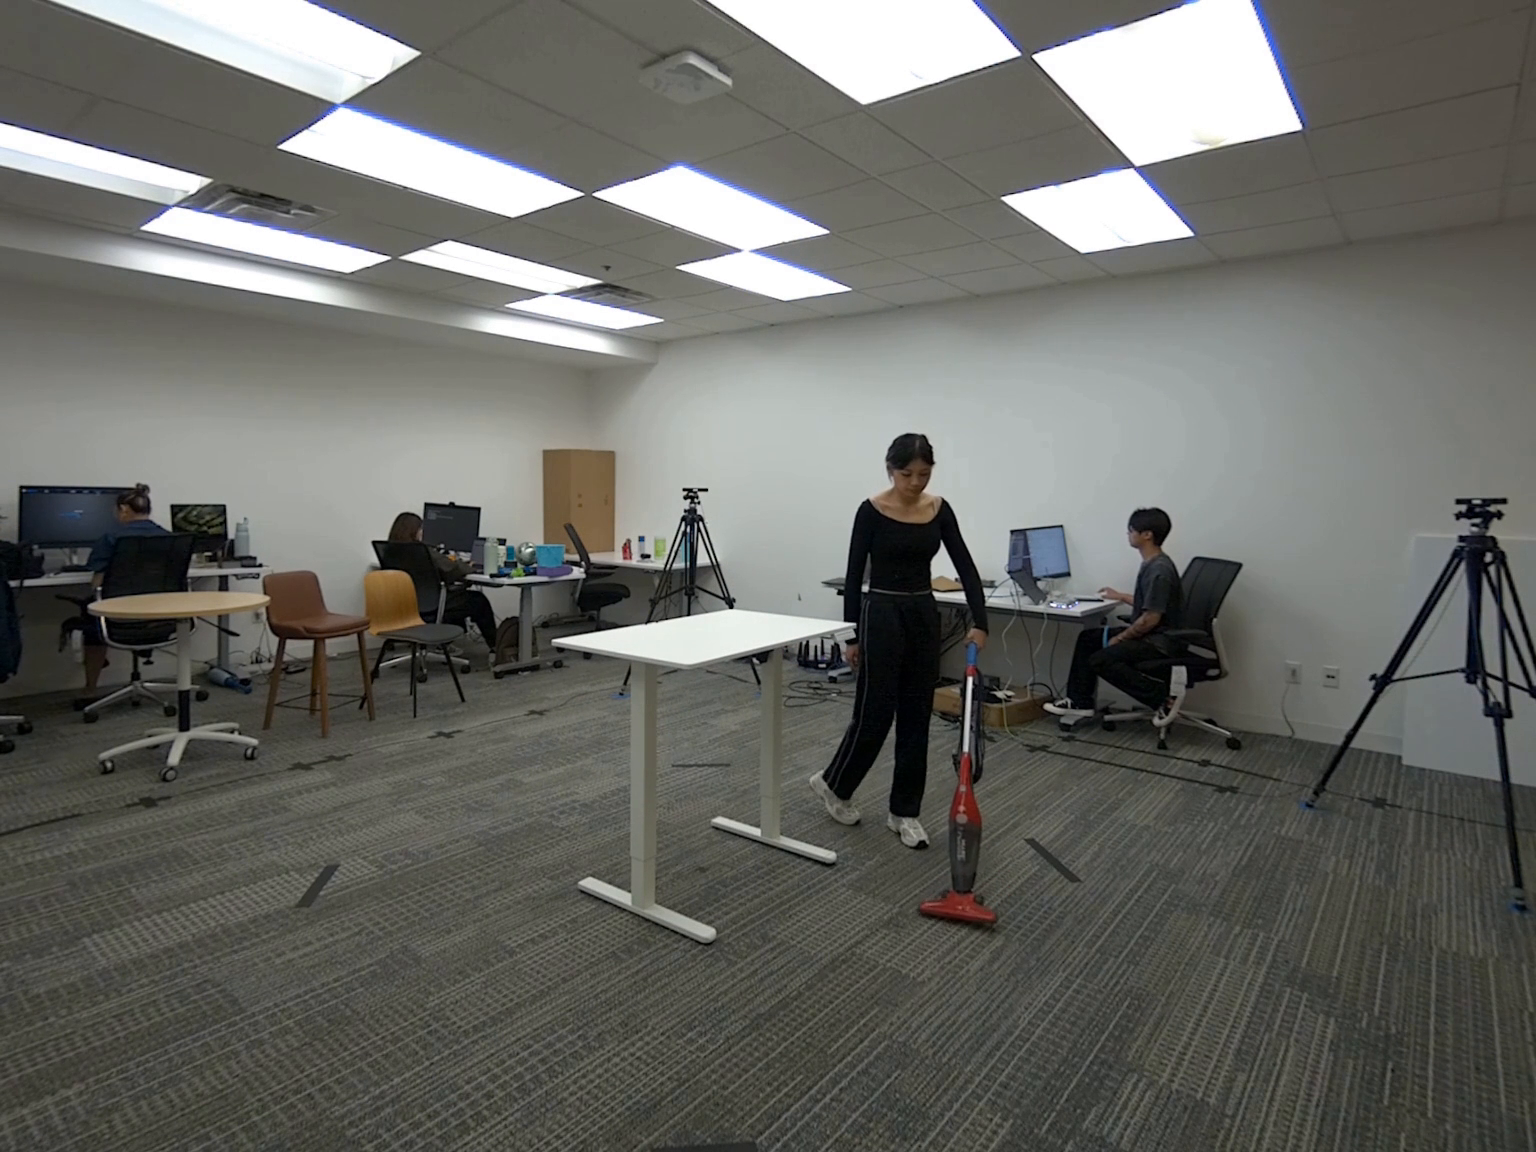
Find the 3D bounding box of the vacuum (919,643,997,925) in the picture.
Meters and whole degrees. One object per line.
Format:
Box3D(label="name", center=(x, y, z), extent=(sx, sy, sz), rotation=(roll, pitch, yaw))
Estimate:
Box3D(label="vacuum", center=(0.733, 0.661, 3.082), extent=(0.258, 1.068, 0.138), rotation=(-2, -34, 23))
